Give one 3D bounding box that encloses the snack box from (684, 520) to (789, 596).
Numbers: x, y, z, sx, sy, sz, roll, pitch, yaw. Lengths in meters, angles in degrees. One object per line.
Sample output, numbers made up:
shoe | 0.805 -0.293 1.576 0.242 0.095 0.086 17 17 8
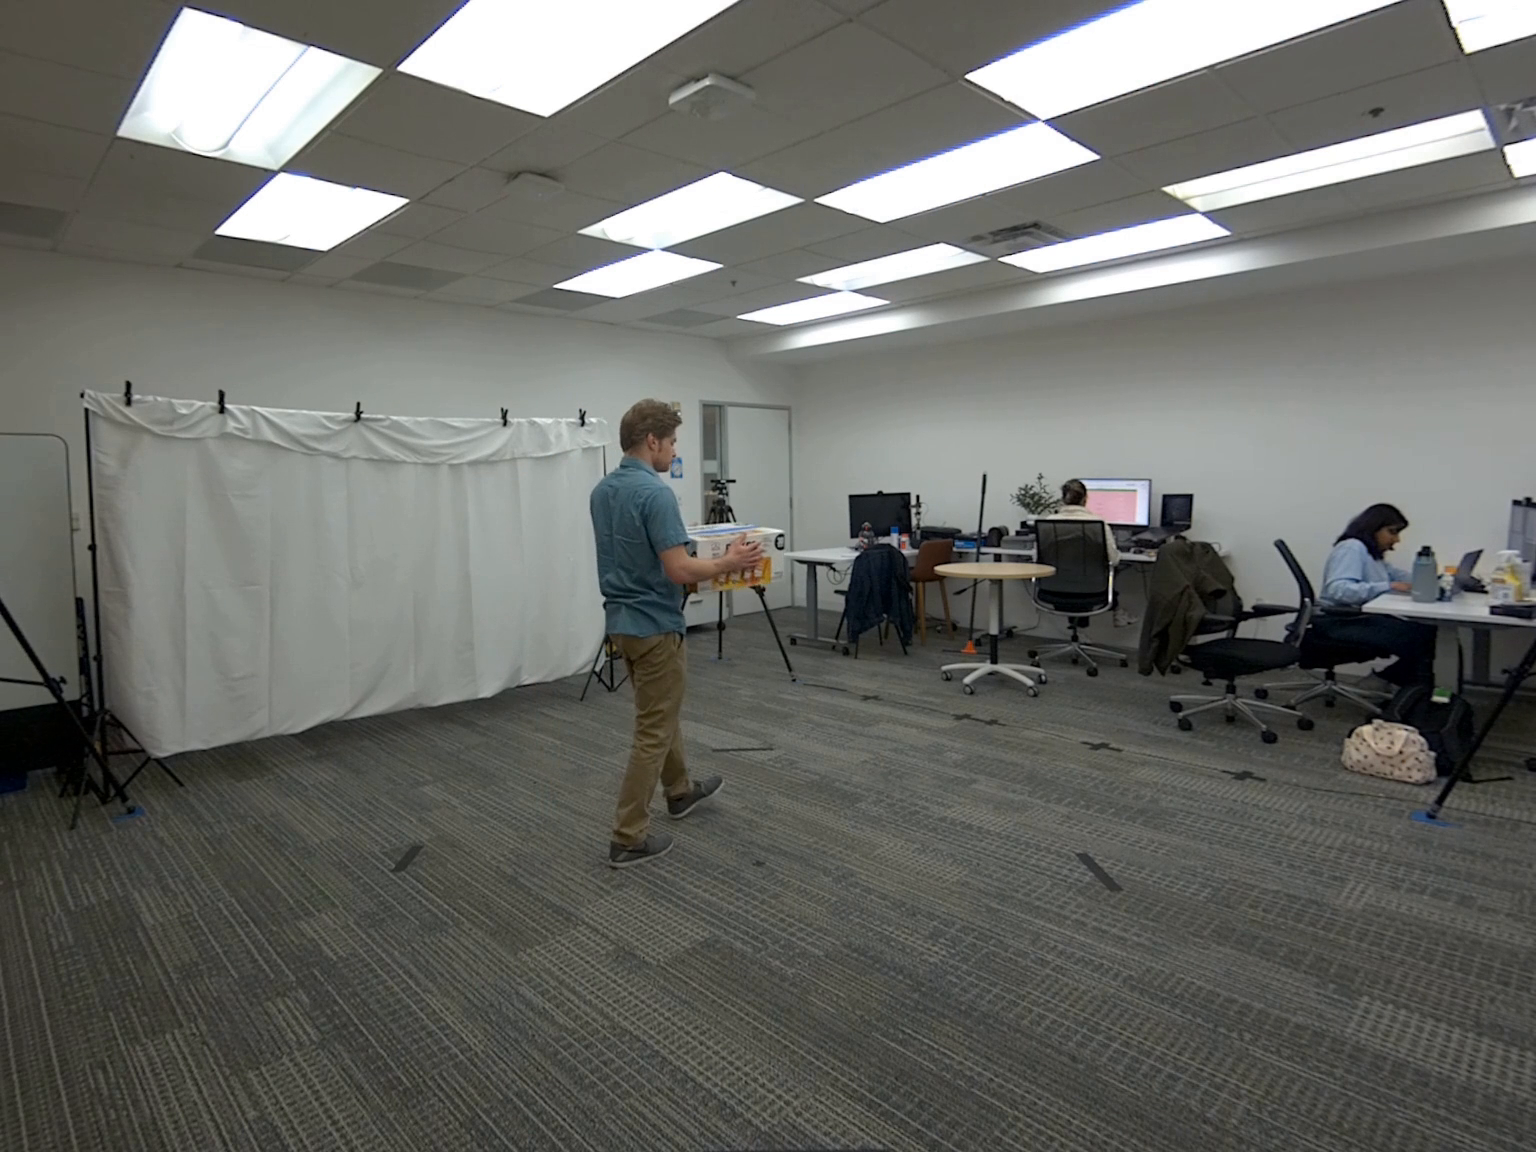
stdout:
snack box | -0.188 -0.083 3.369 0.396 0.204 0.351 -8 13 -34
